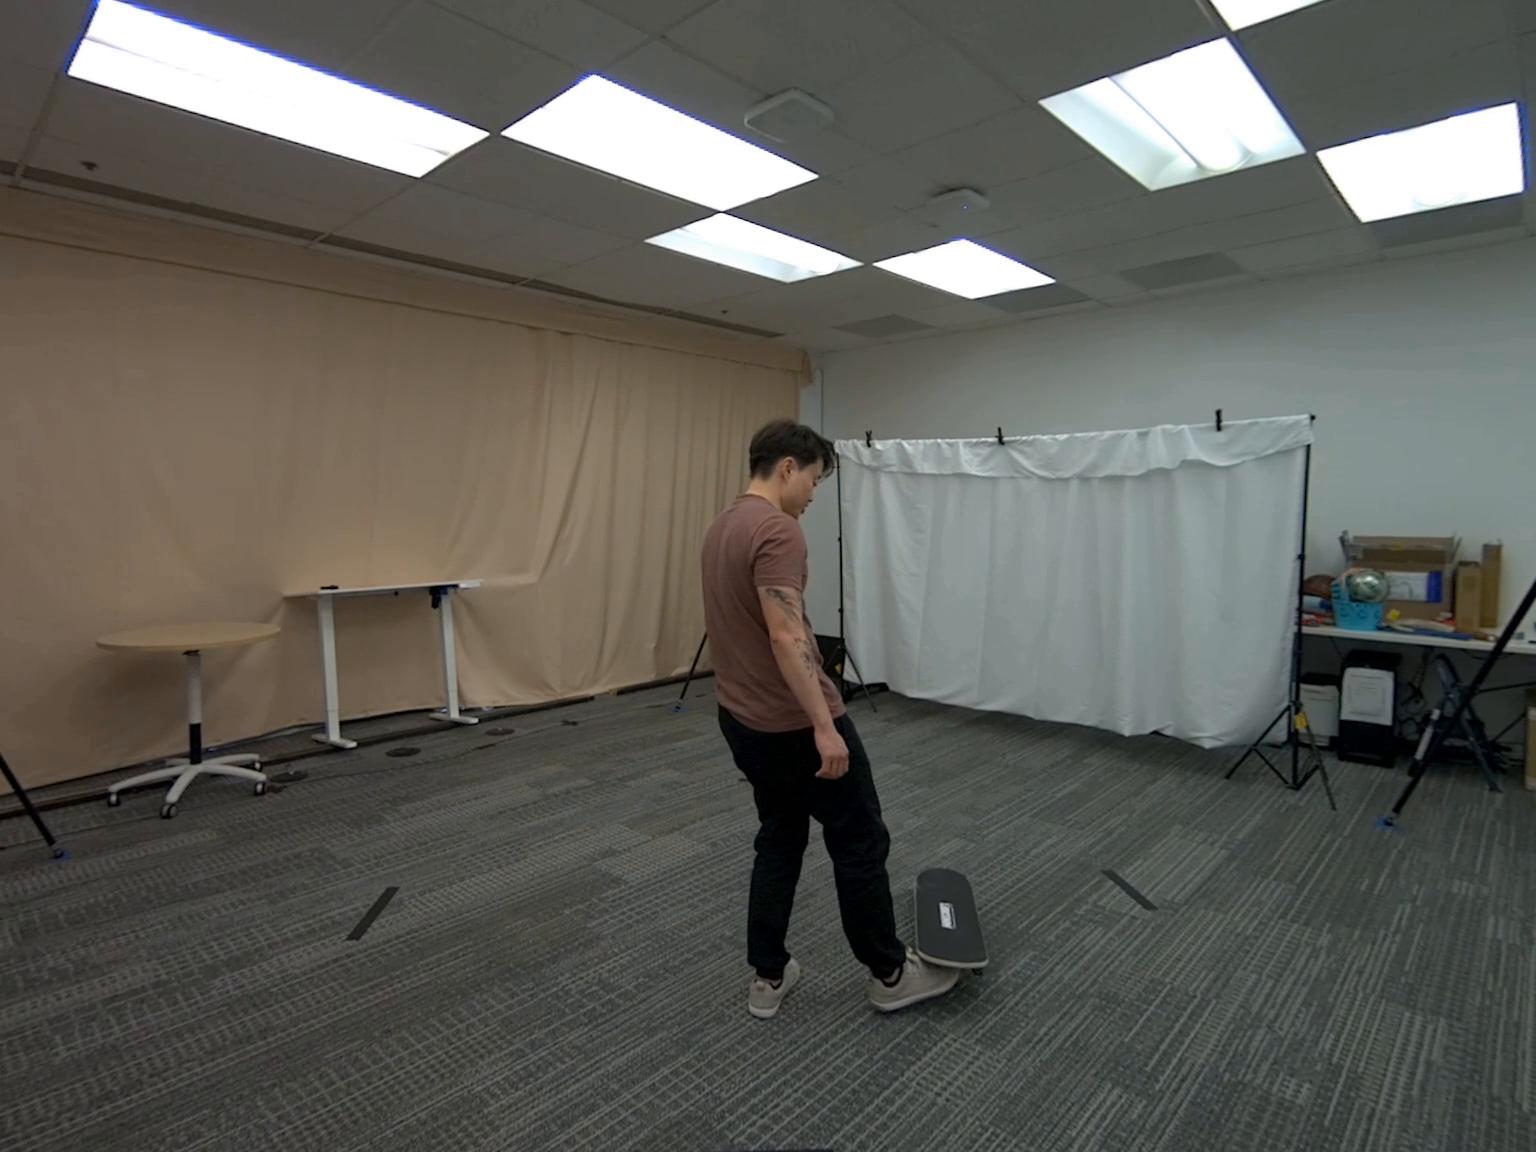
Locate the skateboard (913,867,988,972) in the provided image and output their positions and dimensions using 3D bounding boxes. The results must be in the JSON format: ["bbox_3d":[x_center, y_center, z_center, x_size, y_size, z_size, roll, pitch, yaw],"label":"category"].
[{"bbox_3d":[0.569,1.099,2.631,0.195,0.110,0.776,0,0,8],"label":"skateboard"}]
